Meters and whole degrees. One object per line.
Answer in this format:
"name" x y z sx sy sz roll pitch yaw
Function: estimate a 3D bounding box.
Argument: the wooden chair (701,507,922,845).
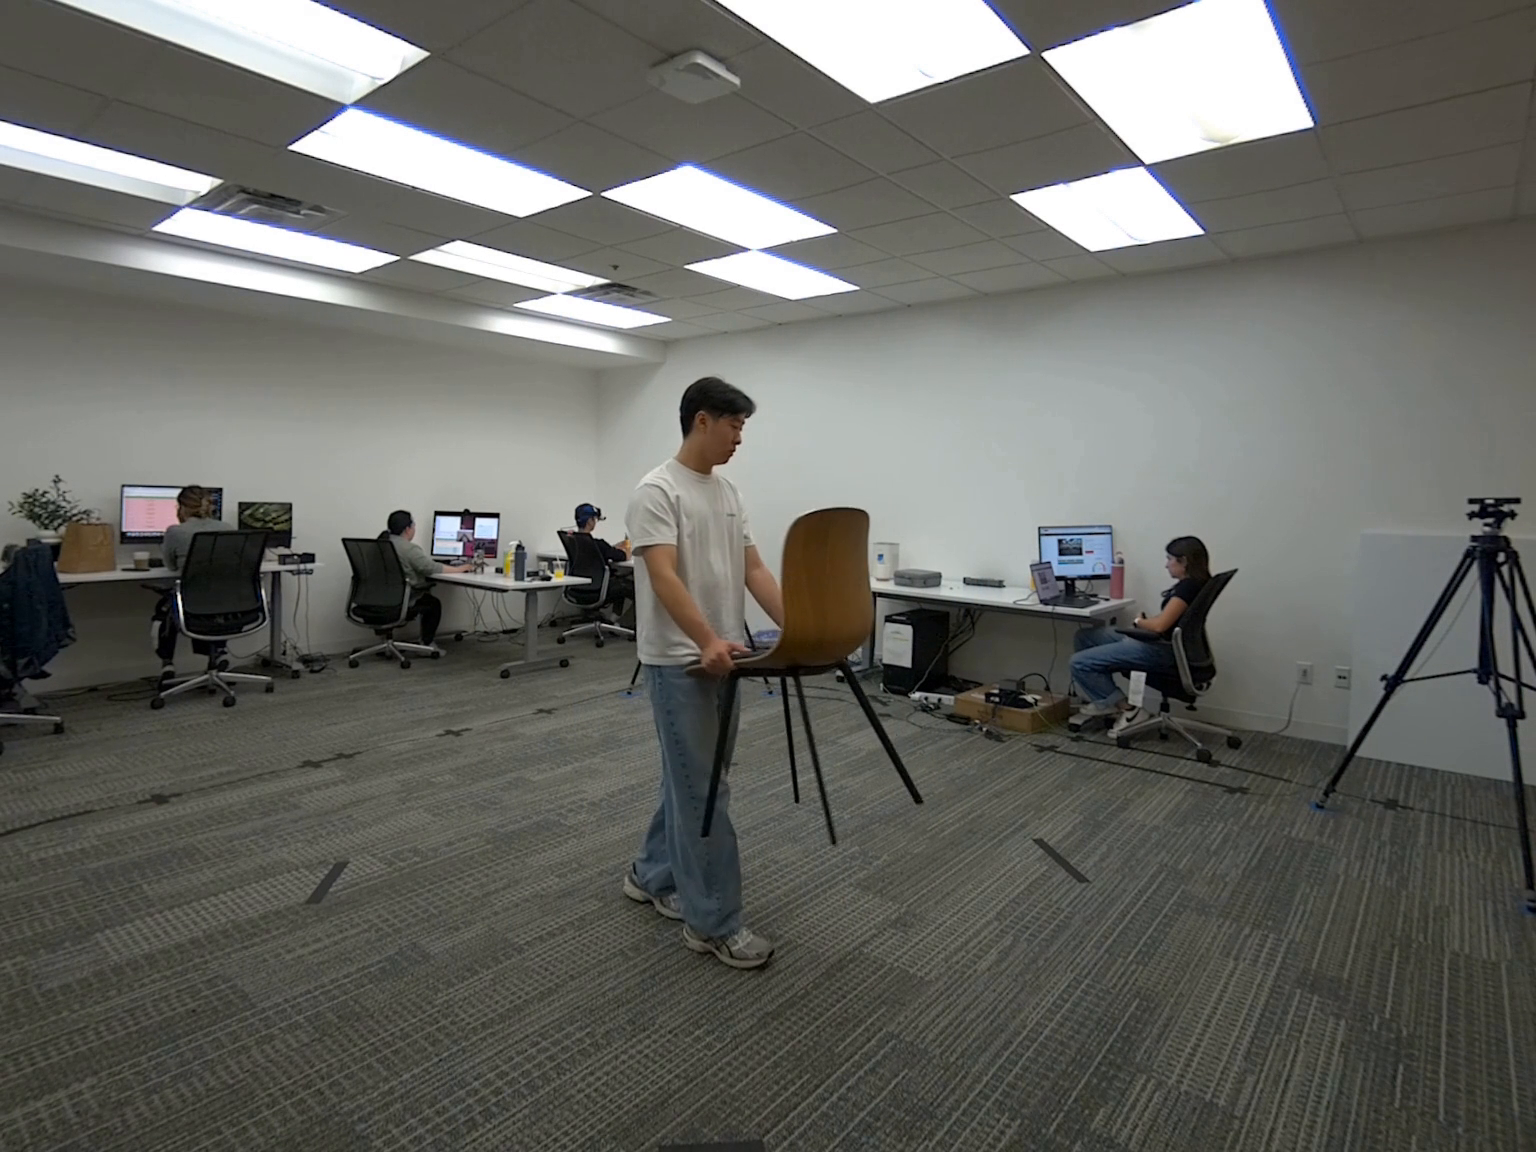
"wooden chair" 0.050 0.269 2.464 0.537 0.881 0.463 -9 -5 40
